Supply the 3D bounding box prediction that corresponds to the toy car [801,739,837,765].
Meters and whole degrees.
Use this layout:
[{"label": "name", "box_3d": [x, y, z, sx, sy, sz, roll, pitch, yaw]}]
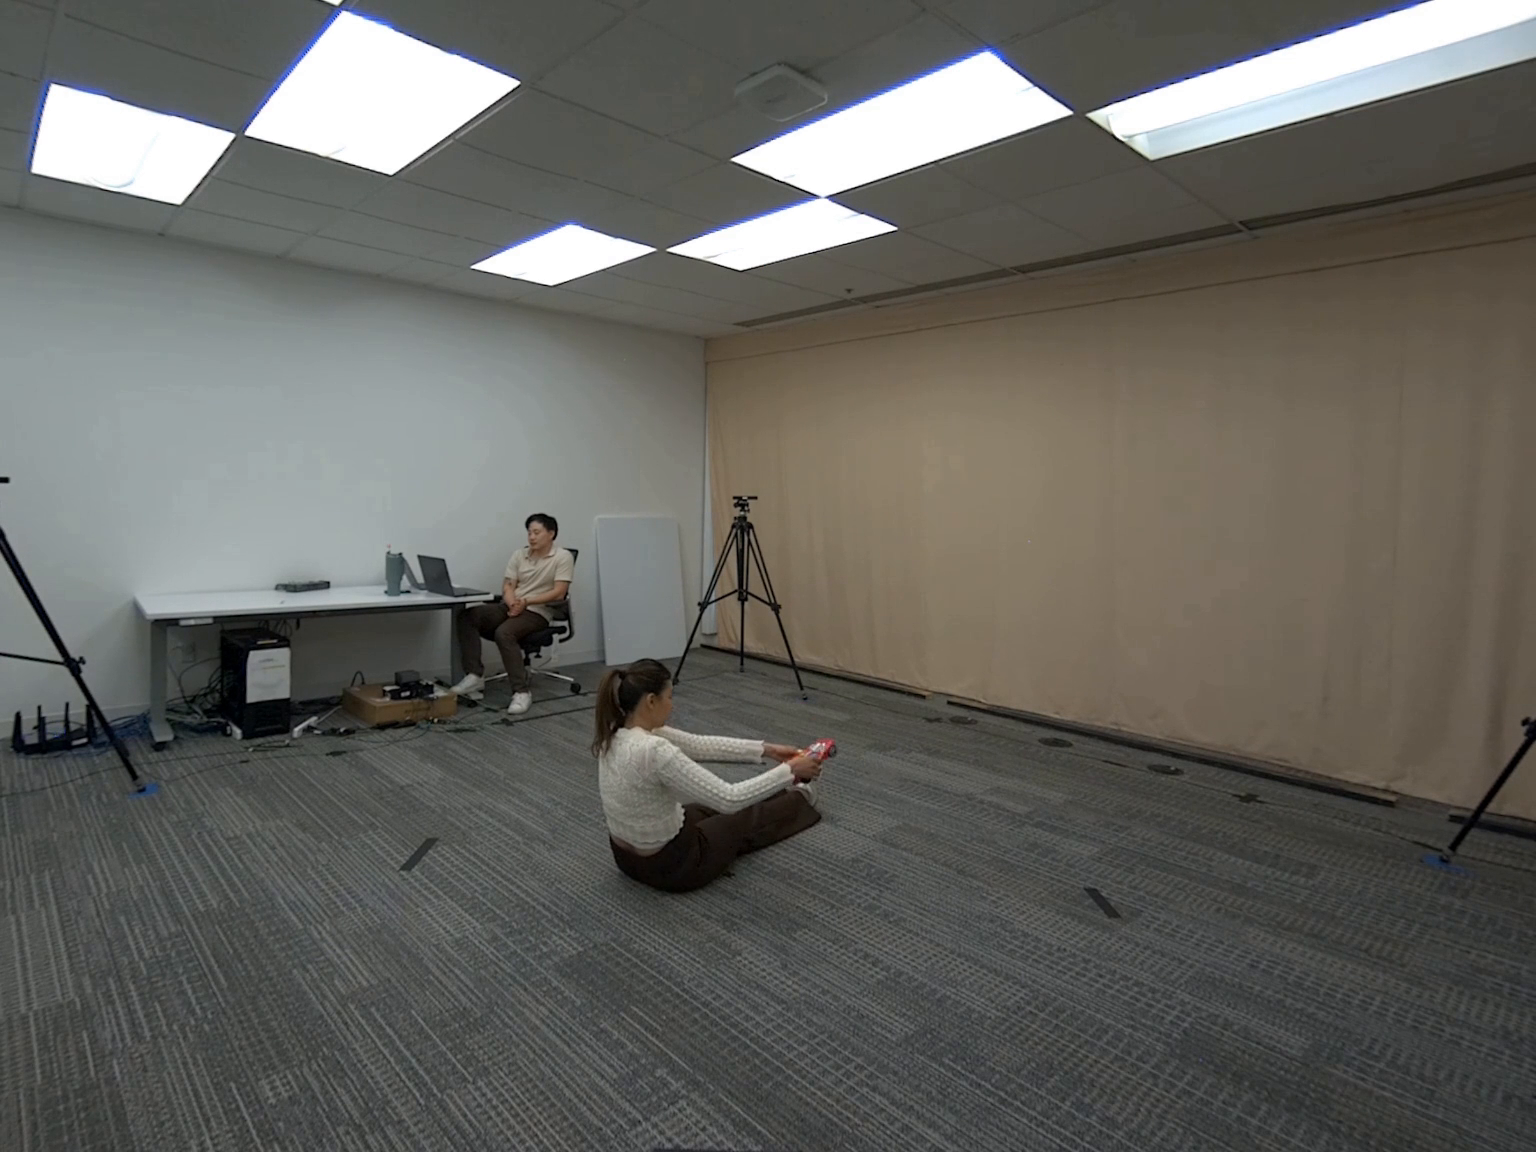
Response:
[{"label": "toy car", "box_3d": [0.121, 0.683, 3.059, 0.251, 0.083, 0.132, -23, 8, -31]}]
